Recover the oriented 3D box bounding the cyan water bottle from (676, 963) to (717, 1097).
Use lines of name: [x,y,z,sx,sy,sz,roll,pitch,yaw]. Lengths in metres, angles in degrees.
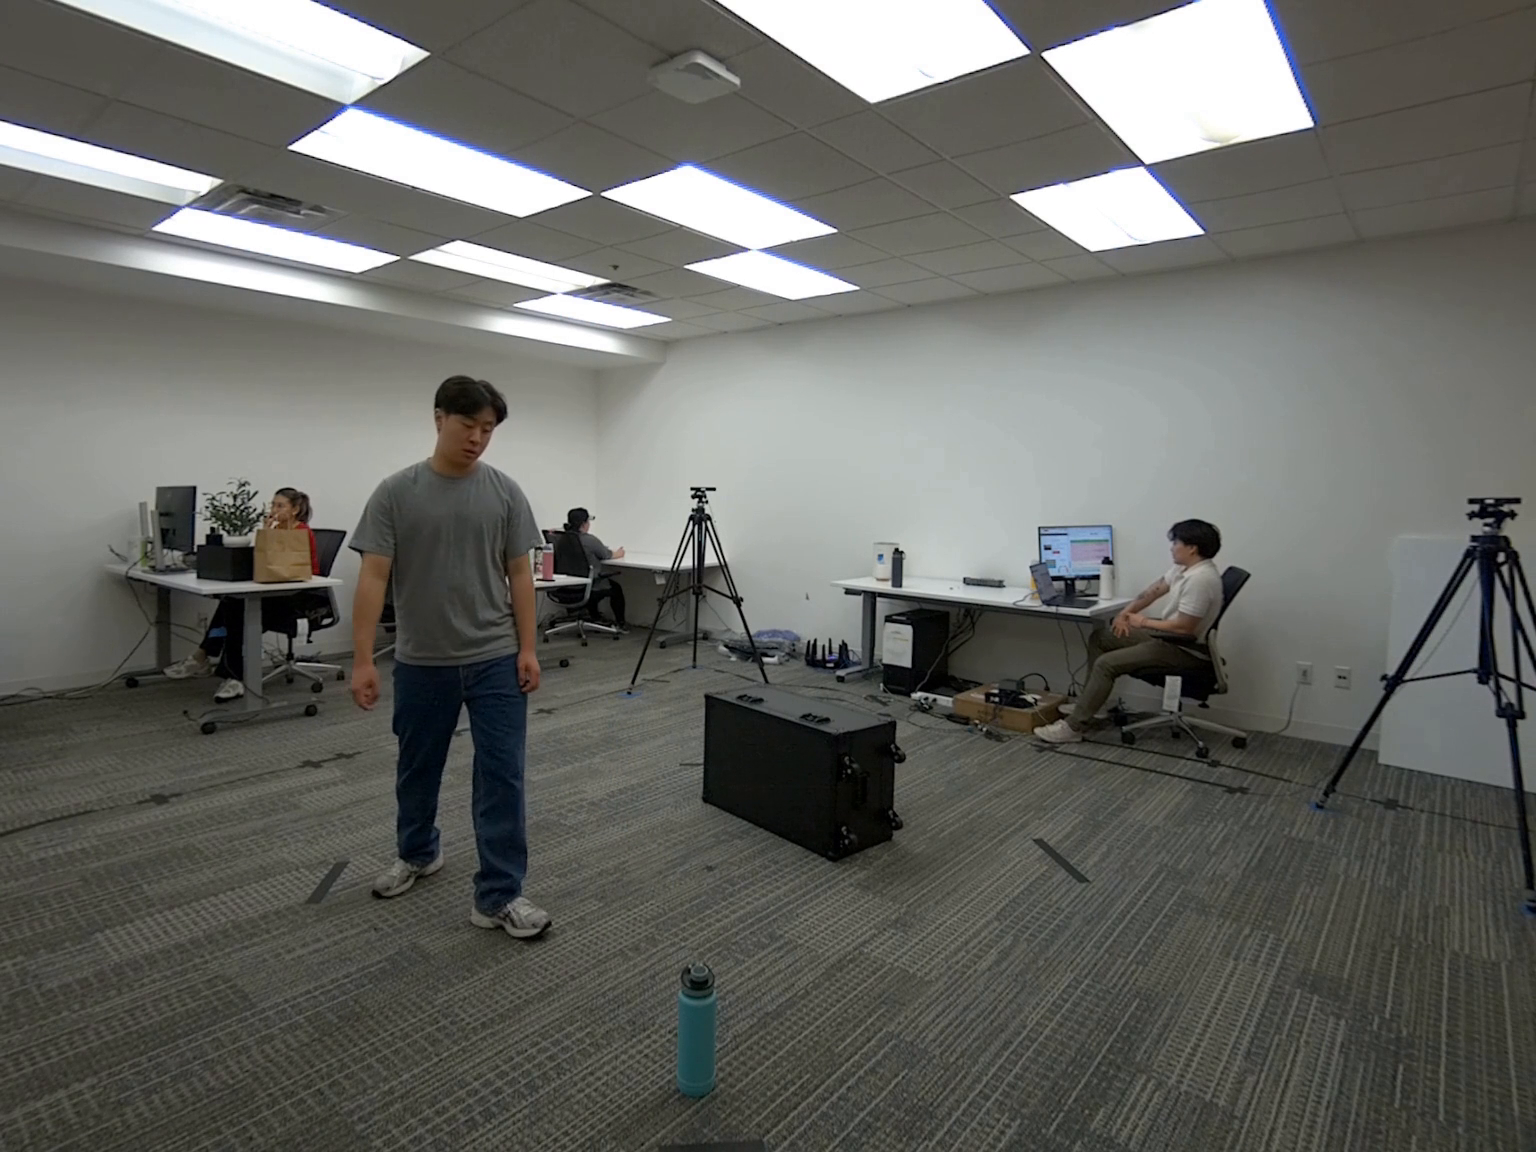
cyan water bottle: [-0.175,1.043,1.974,0.092,0.283,0.092,0,2,-2]
